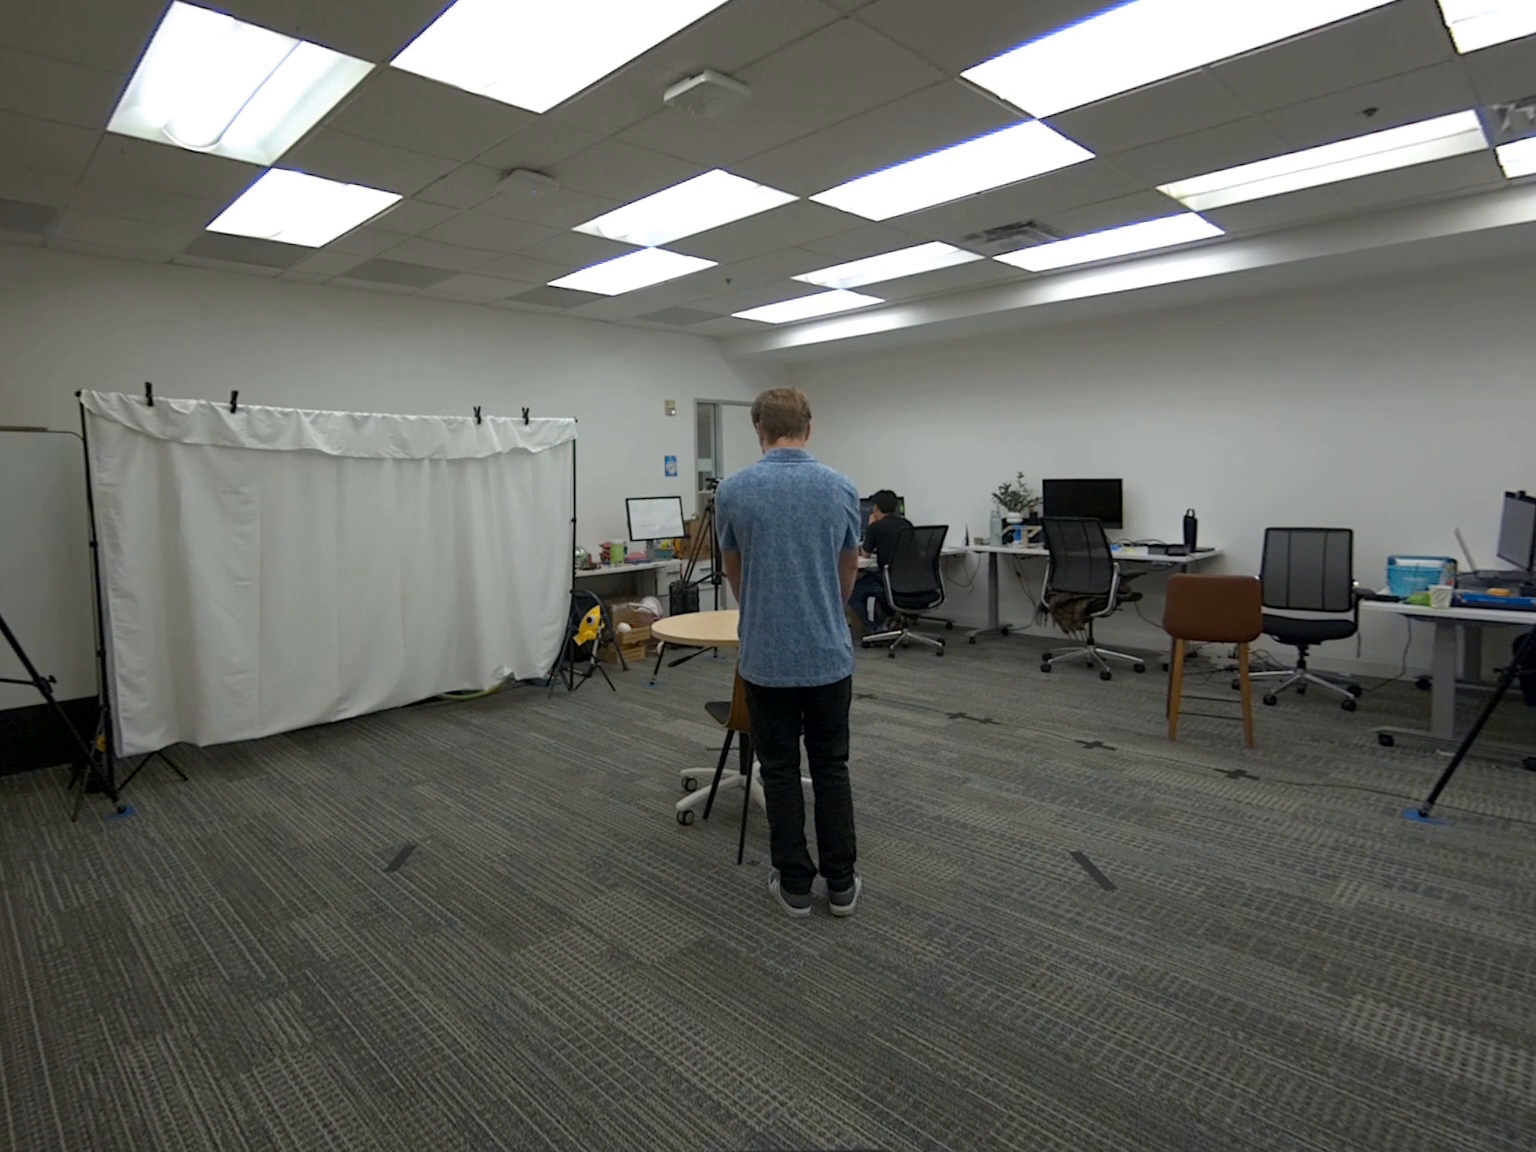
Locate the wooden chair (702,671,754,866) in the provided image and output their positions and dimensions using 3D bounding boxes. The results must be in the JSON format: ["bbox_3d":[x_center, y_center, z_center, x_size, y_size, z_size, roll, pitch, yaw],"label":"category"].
[{"bbox_3d":[0.021,0.585,3.337,0.470,0.871,0.536,-2,9,-19],"label":"wooden chair"}]
